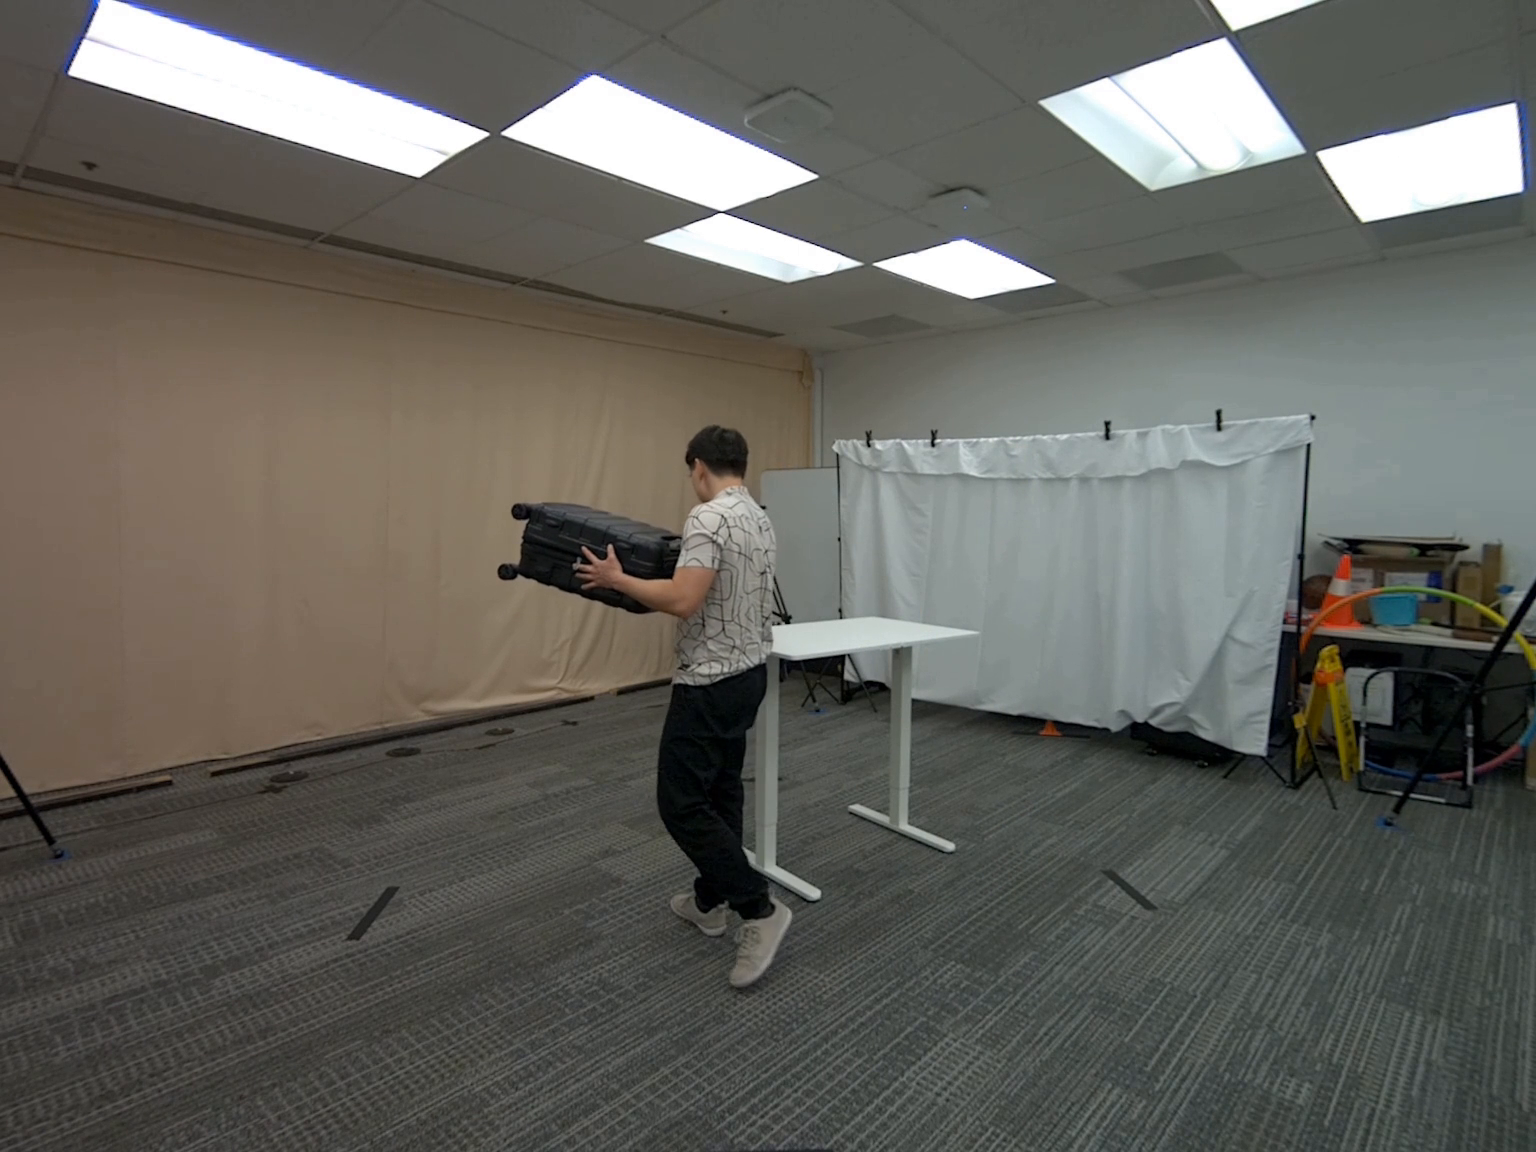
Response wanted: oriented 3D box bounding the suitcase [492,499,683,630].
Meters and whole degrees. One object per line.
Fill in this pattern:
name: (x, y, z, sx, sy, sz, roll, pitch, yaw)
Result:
suitcase: (-0.534, -0.058, 2.740, 0.562, 0.247, 0.368, 16, 11, 19)
